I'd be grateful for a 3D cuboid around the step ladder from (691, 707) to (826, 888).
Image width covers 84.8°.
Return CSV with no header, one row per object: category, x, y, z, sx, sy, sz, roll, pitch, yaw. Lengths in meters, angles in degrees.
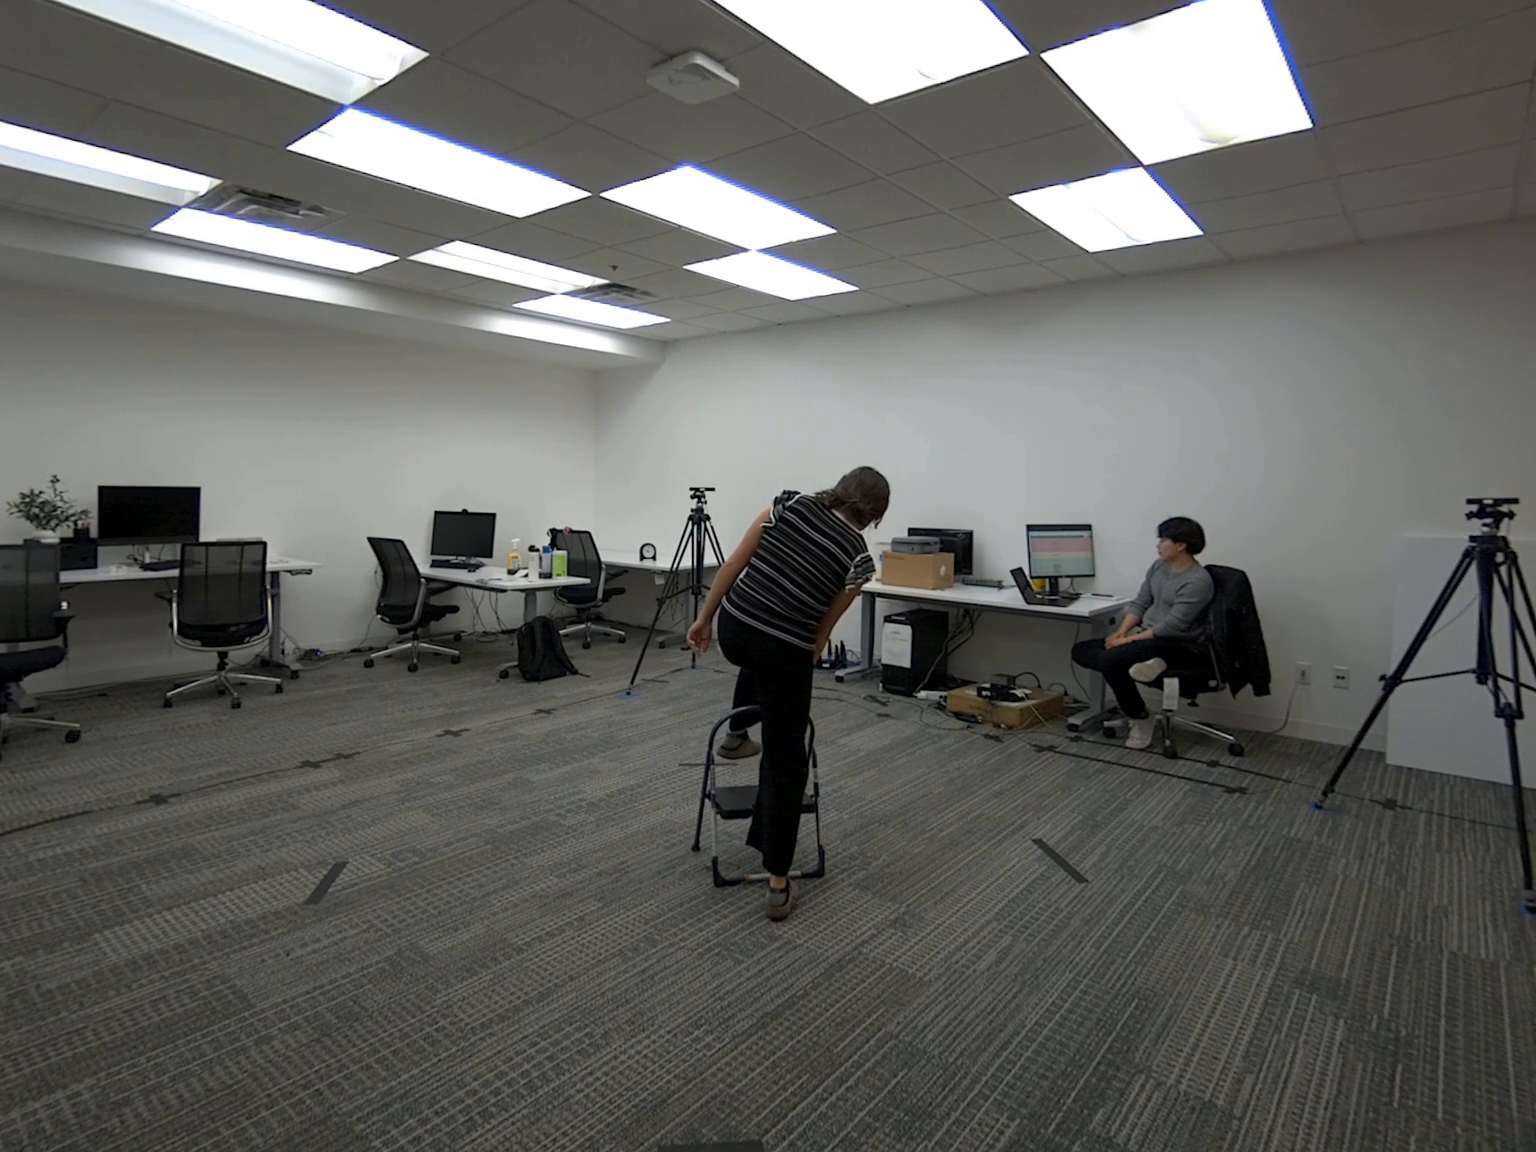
step ladder,-0.044,0.763,3.160,0.423,0.604,0.356,0,4,-17
